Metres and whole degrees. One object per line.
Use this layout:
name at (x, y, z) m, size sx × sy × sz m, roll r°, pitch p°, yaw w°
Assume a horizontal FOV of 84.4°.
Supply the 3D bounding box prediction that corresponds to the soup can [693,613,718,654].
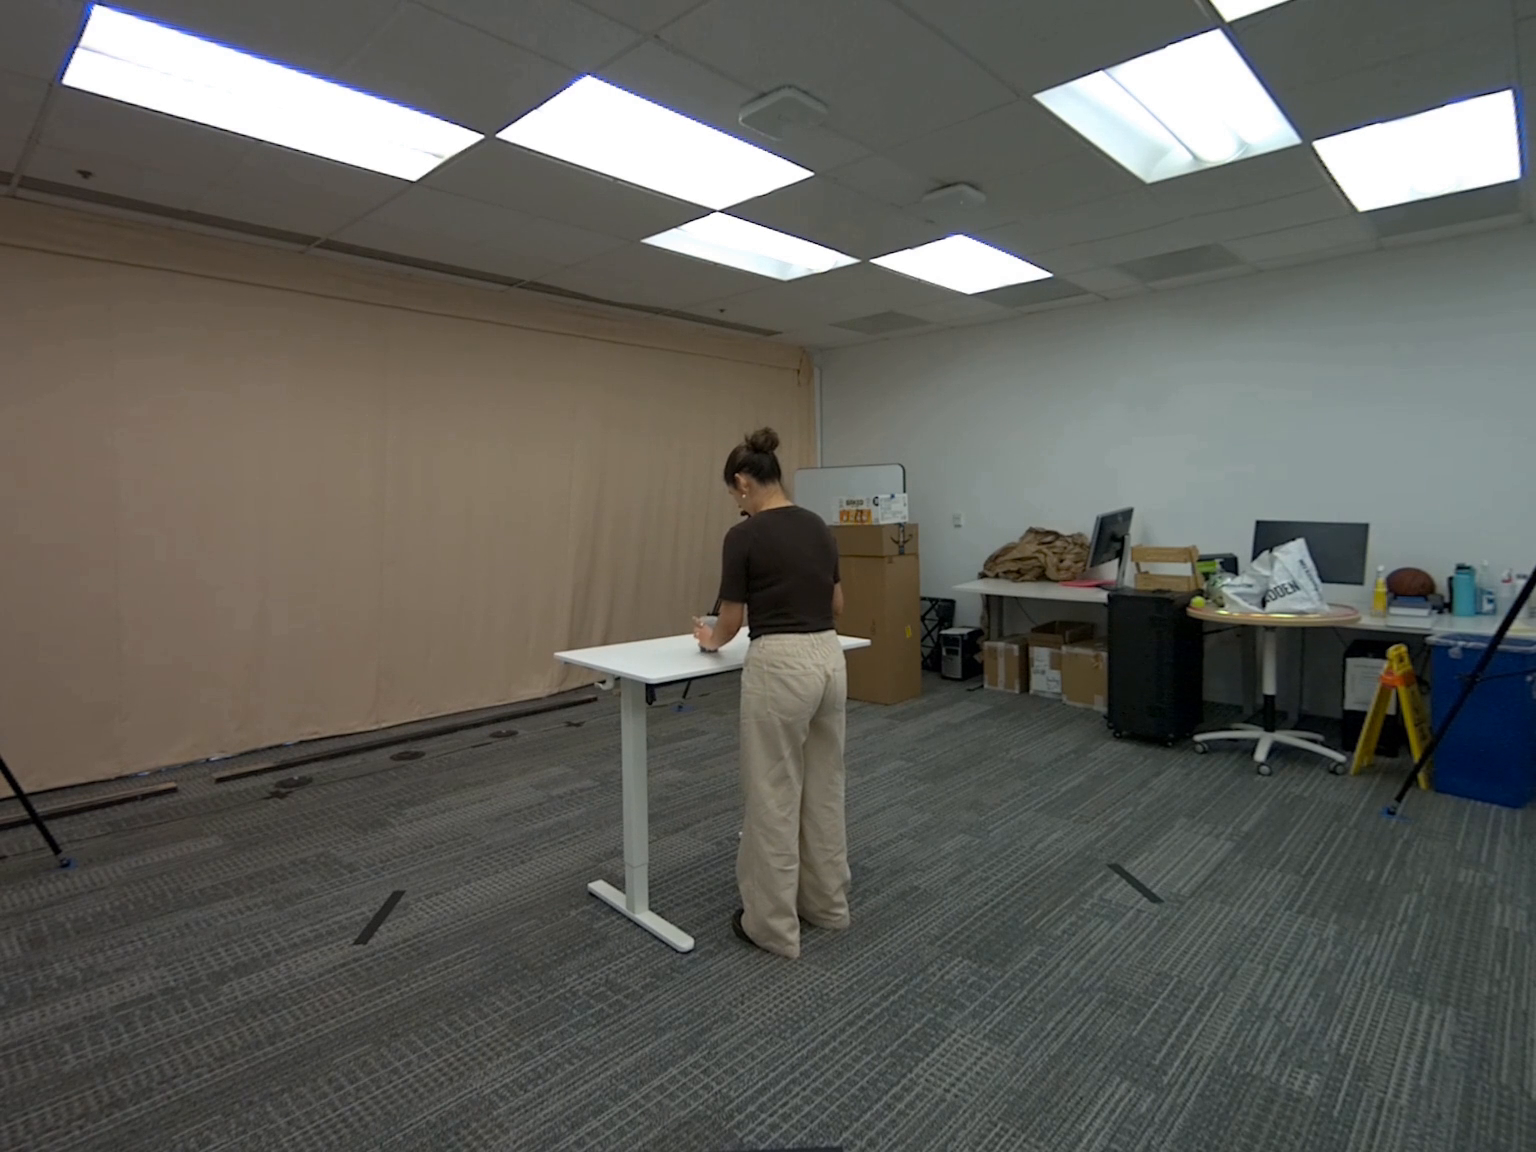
soup can at (-0.210, 0.204, 2.931) m, size 0.067 × 0.121 × 0.067 m, roll -3°, pitch 4°, yaw -2°
